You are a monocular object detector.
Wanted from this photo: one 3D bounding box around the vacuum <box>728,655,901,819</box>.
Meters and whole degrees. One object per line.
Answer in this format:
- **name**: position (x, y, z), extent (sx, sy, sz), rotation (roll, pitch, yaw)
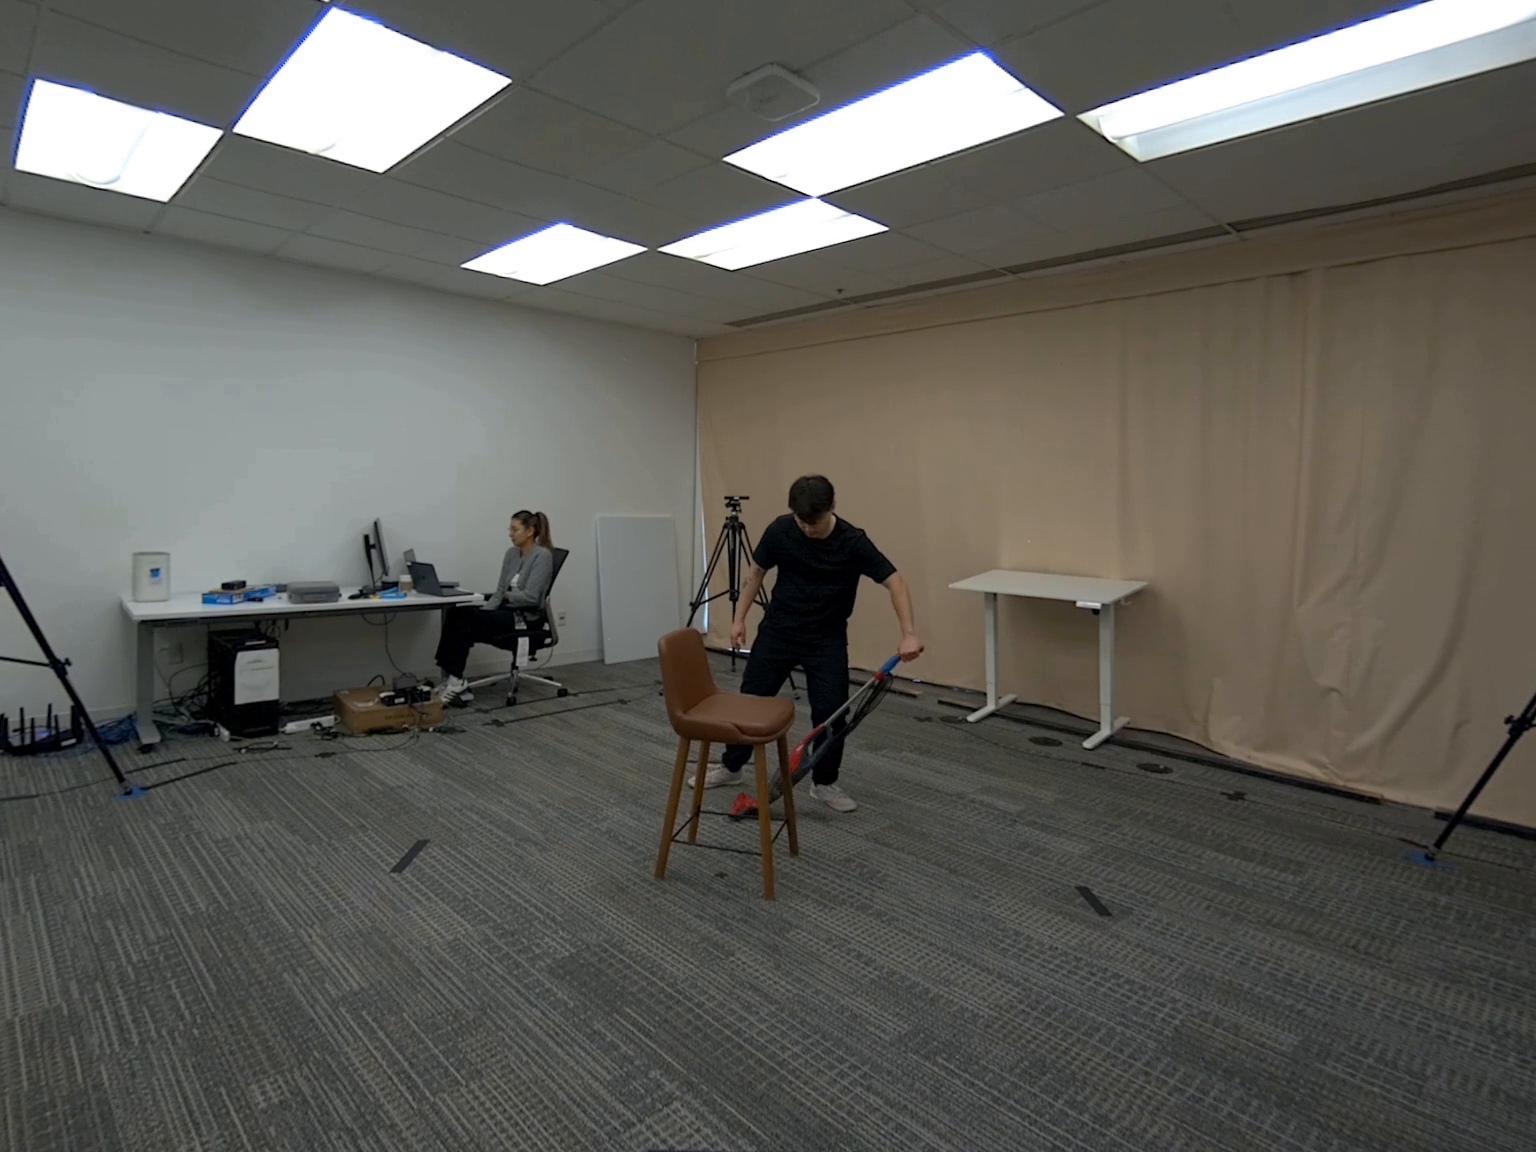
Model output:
- **vacuum**: position (0.271, 0.671, 3.633), extent (0.146, 1.050, 0.249), rotation (47, 11, 9)
